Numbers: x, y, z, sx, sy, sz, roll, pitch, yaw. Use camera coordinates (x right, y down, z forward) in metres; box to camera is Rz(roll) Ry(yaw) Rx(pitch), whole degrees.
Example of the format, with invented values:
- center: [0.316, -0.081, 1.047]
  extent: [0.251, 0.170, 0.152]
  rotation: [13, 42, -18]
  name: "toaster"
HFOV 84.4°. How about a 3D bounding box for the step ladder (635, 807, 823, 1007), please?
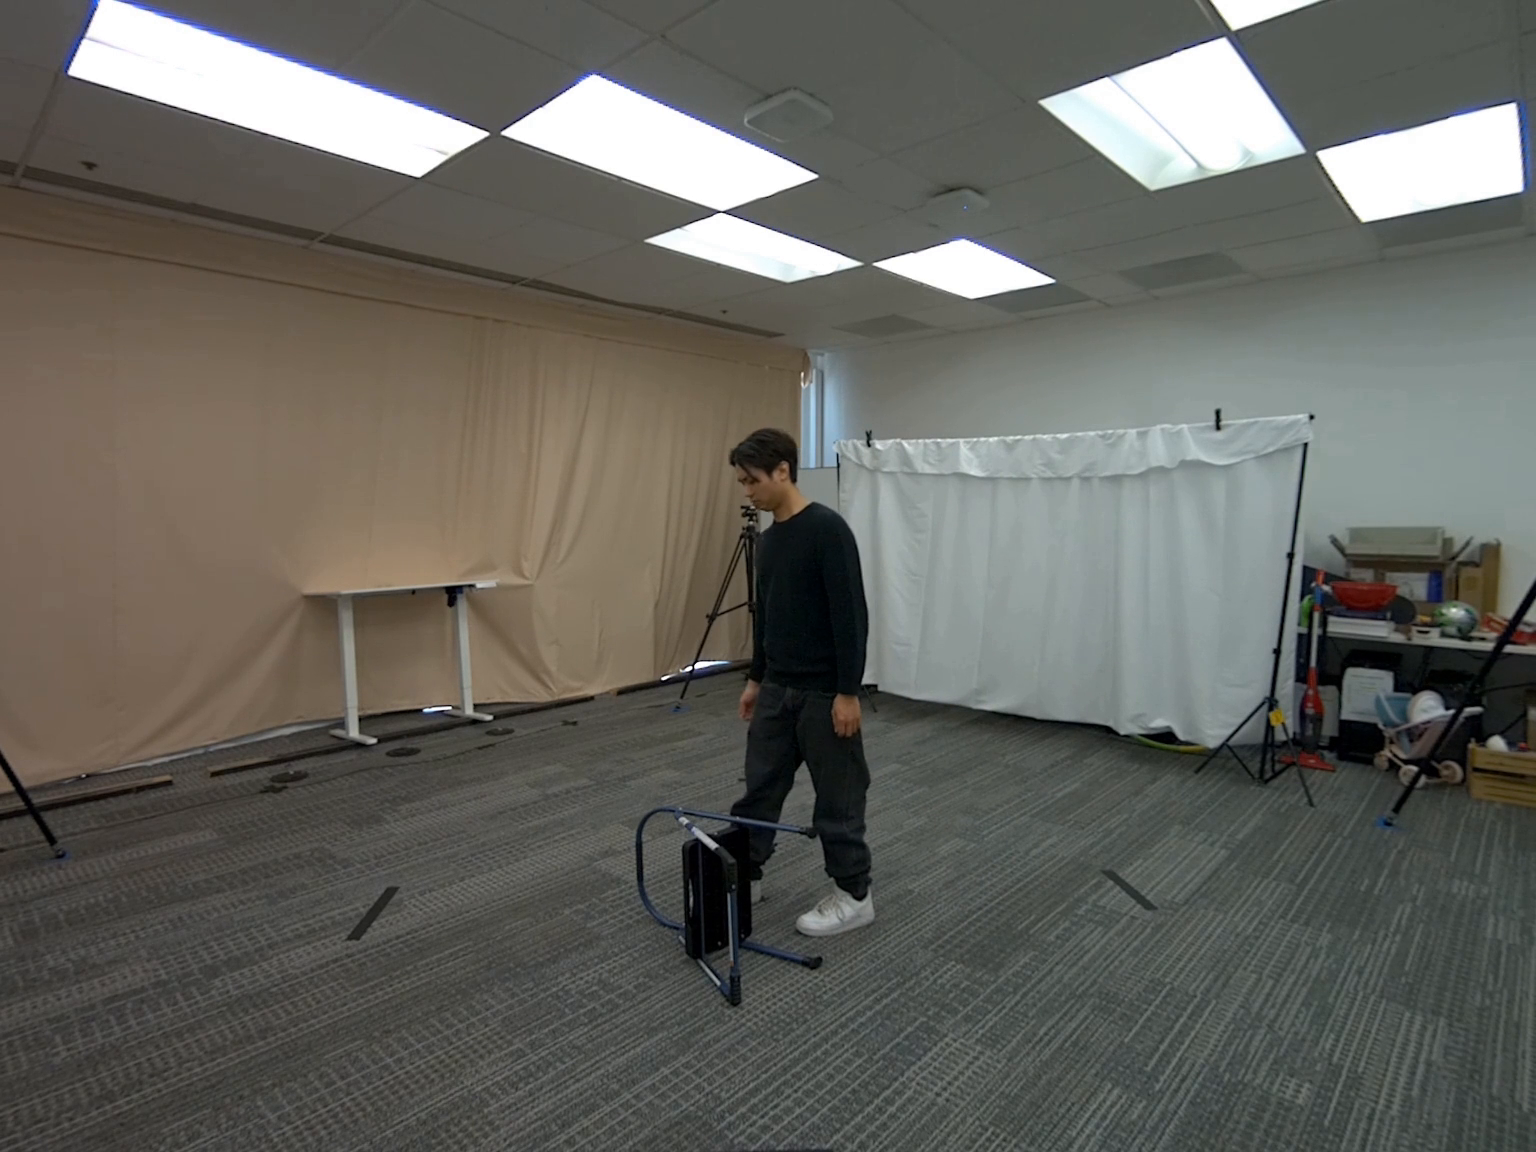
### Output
- center: [-0.176, 0.969, 2.650]
  extent: [0.339, 0.430, 0.626]
  rotation: [-4, 4, -42]
  name: "step ladder"
